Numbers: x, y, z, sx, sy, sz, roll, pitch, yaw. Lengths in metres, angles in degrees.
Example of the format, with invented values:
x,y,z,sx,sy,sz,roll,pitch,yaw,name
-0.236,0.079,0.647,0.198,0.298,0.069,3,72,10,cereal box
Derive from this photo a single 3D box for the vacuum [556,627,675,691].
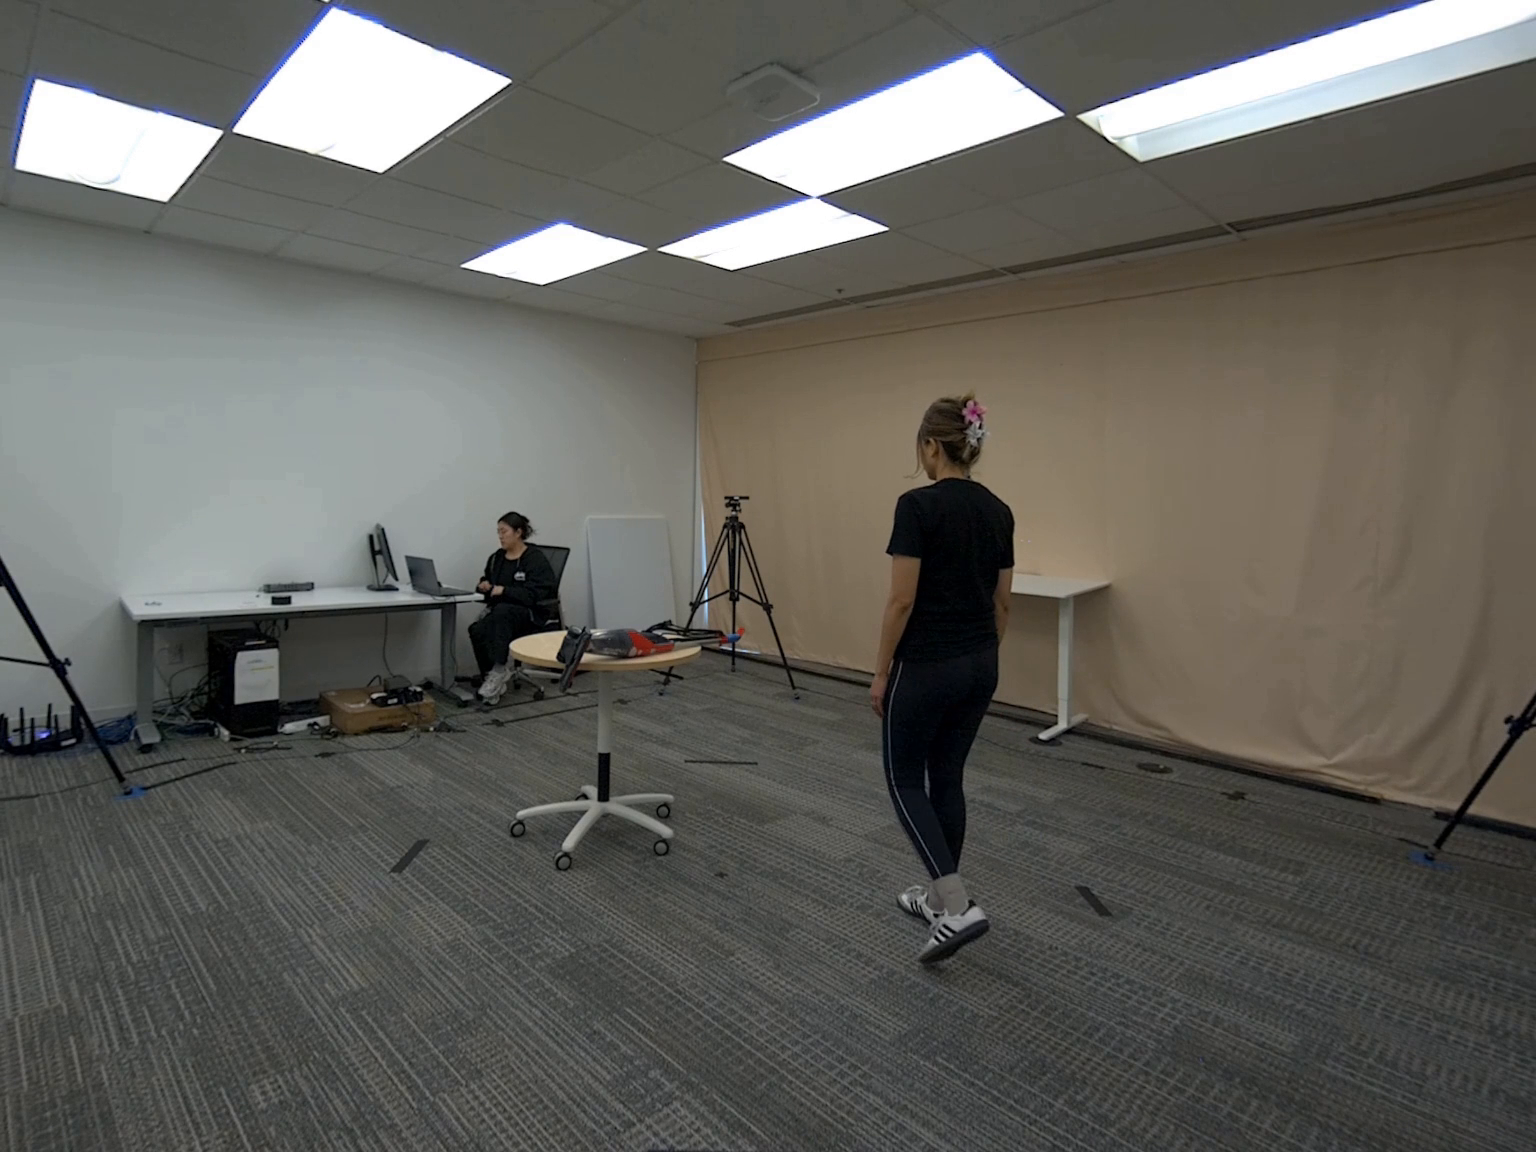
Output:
x,y,z,sx,sy,sz,roll,pitch,yaw,name
-0.406,0.262,3.344,0.148,0.251,1.027,40,23,26,vacuum
